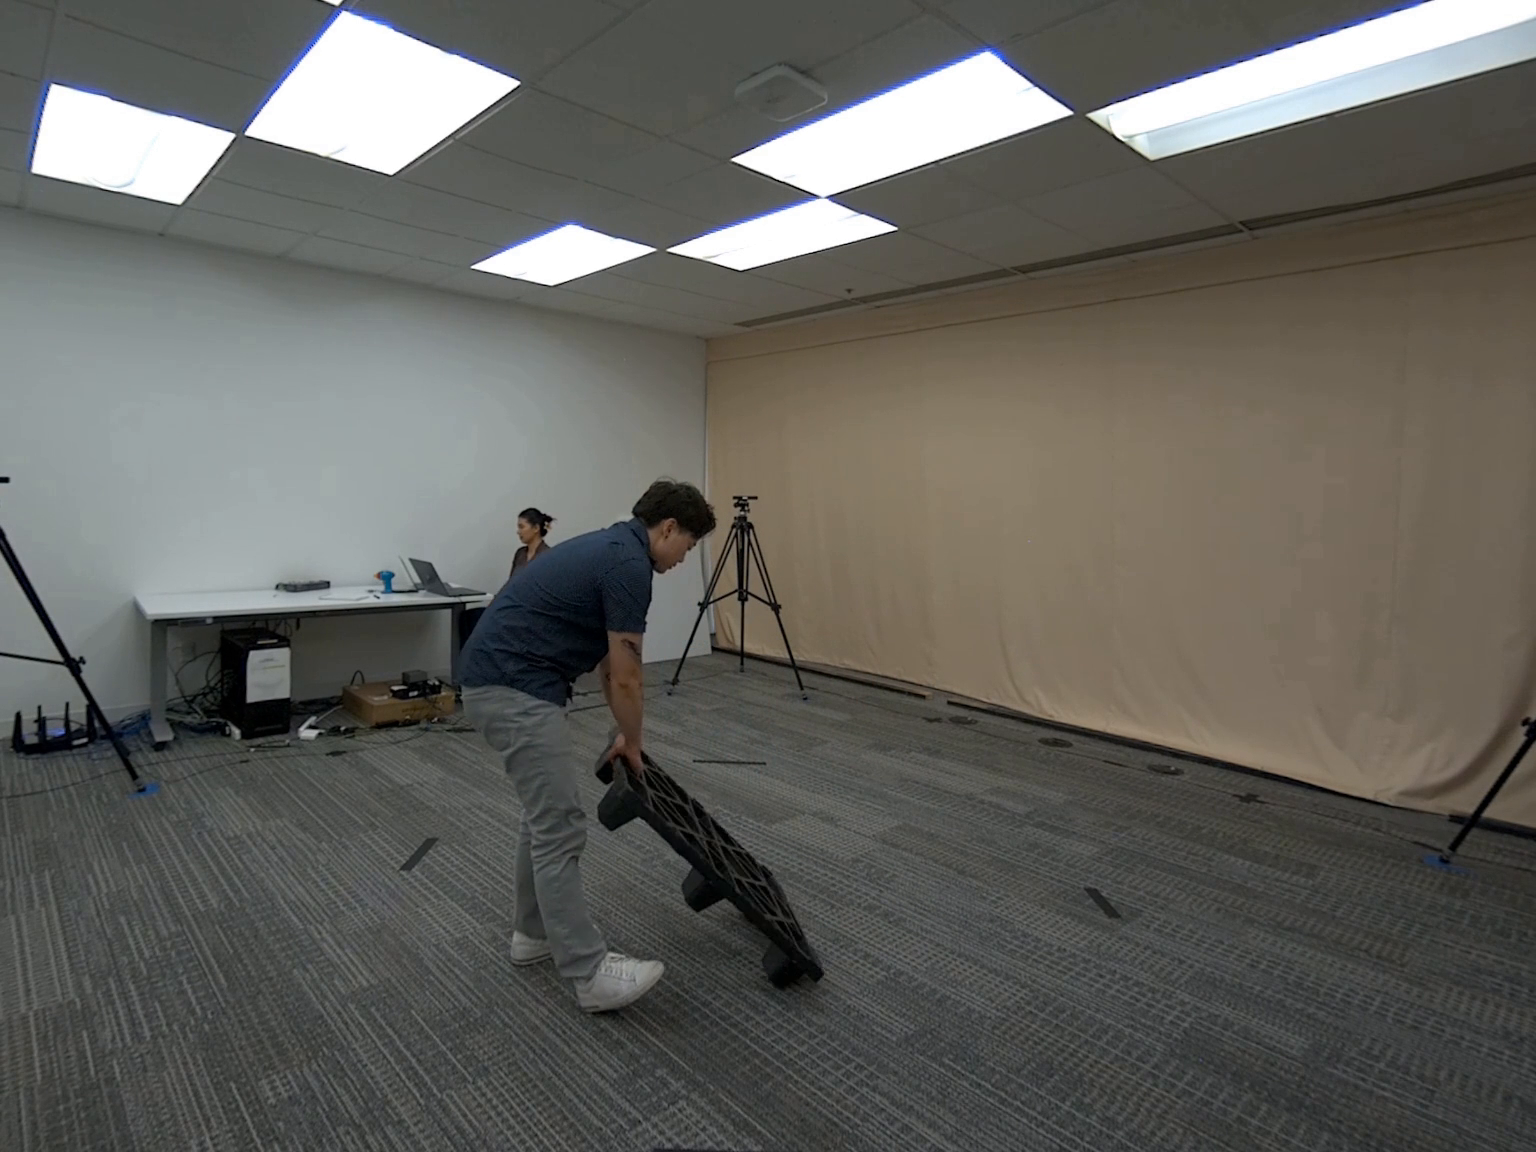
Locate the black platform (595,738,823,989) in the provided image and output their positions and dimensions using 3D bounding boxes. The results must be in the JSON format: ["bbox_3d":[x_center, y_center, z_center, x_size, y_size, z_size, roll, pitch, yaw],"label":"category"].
[{"bbox_3d":[-0.223,0.844,2.556,0.143,0.797,0.612,-44,11,-6],"label":"black platform"}]
